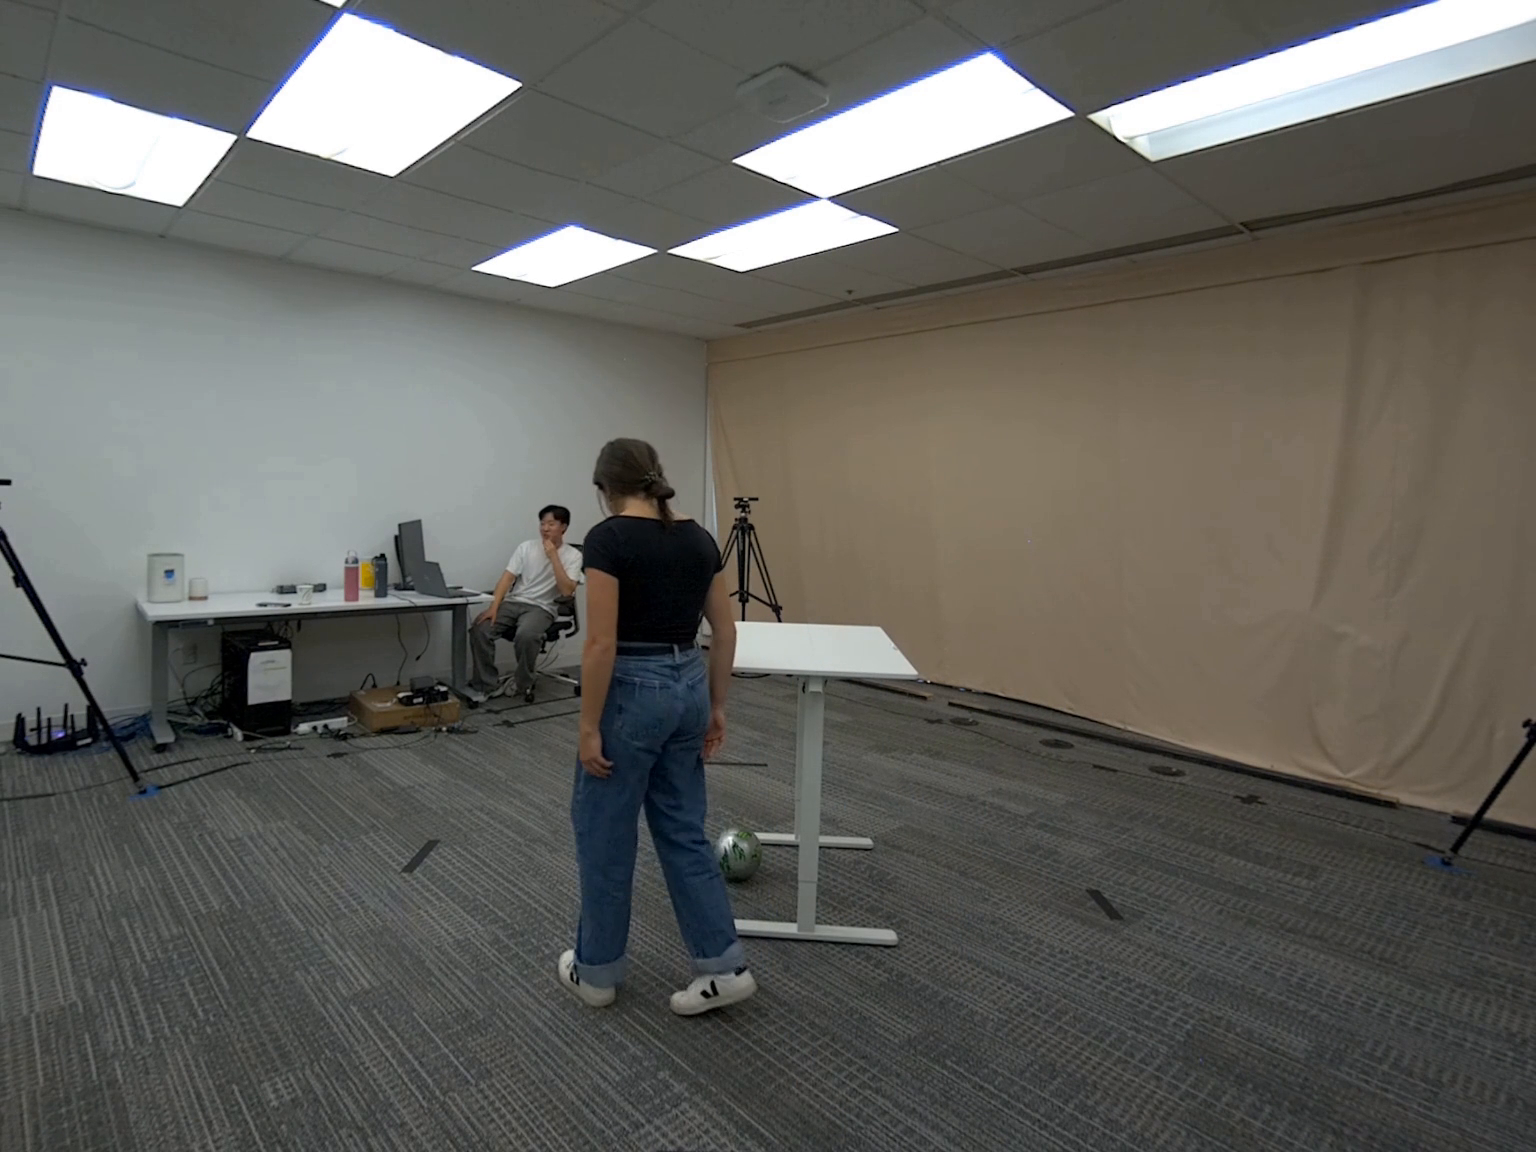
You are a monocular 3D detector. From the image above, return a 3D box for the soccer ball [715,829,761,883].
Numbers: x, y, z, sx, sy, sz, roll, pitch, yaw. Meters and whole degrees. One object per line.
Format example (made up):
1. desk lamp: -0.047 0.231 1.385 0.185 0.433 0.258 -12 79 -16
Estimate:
1. soccer ball: -0.122 1.023 3.078 0.187 0.187 0.188 1 4 -1
